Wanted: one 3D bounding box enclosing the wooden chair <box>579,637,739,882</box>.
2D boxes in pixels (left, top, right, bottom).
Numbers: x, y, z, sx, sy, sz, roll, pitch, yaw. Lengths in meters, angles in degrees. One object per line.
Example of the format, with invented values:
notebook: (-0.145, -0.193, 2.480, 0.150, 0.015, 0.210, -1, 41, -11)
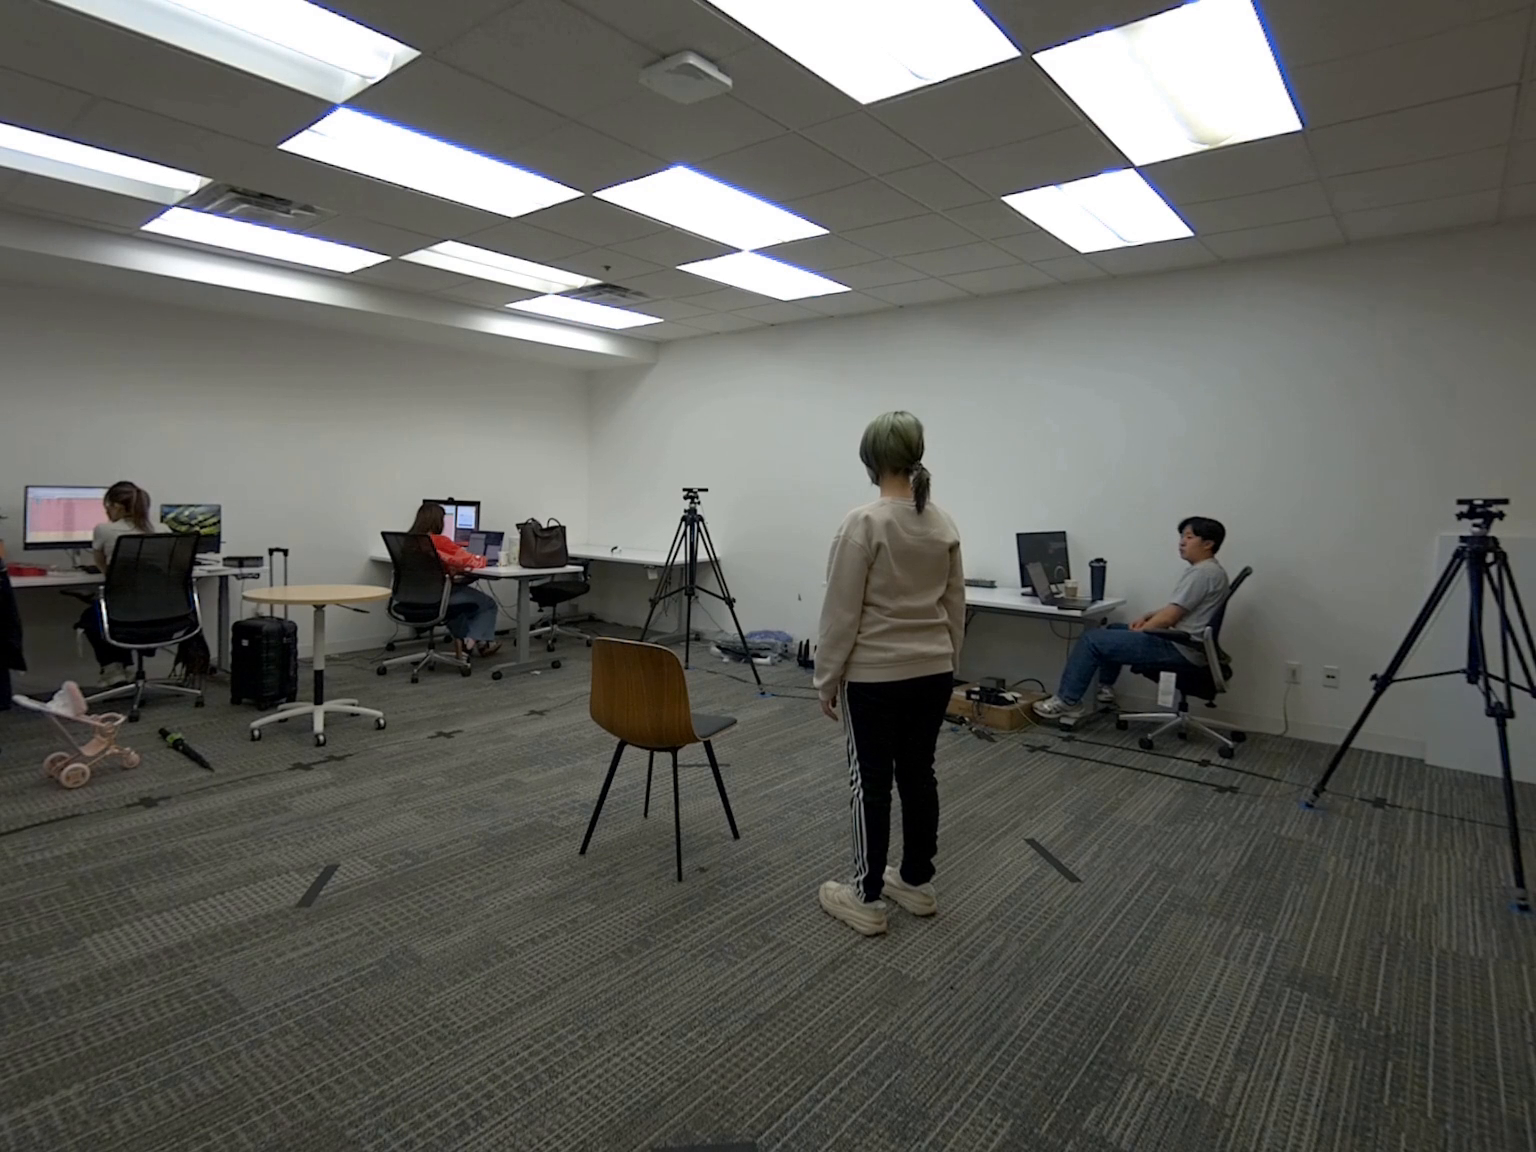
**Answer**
wooden chair: (-0.412, 0.621, 3.287, 0.491, 0.872, 0.512, 3, 8, 27)
